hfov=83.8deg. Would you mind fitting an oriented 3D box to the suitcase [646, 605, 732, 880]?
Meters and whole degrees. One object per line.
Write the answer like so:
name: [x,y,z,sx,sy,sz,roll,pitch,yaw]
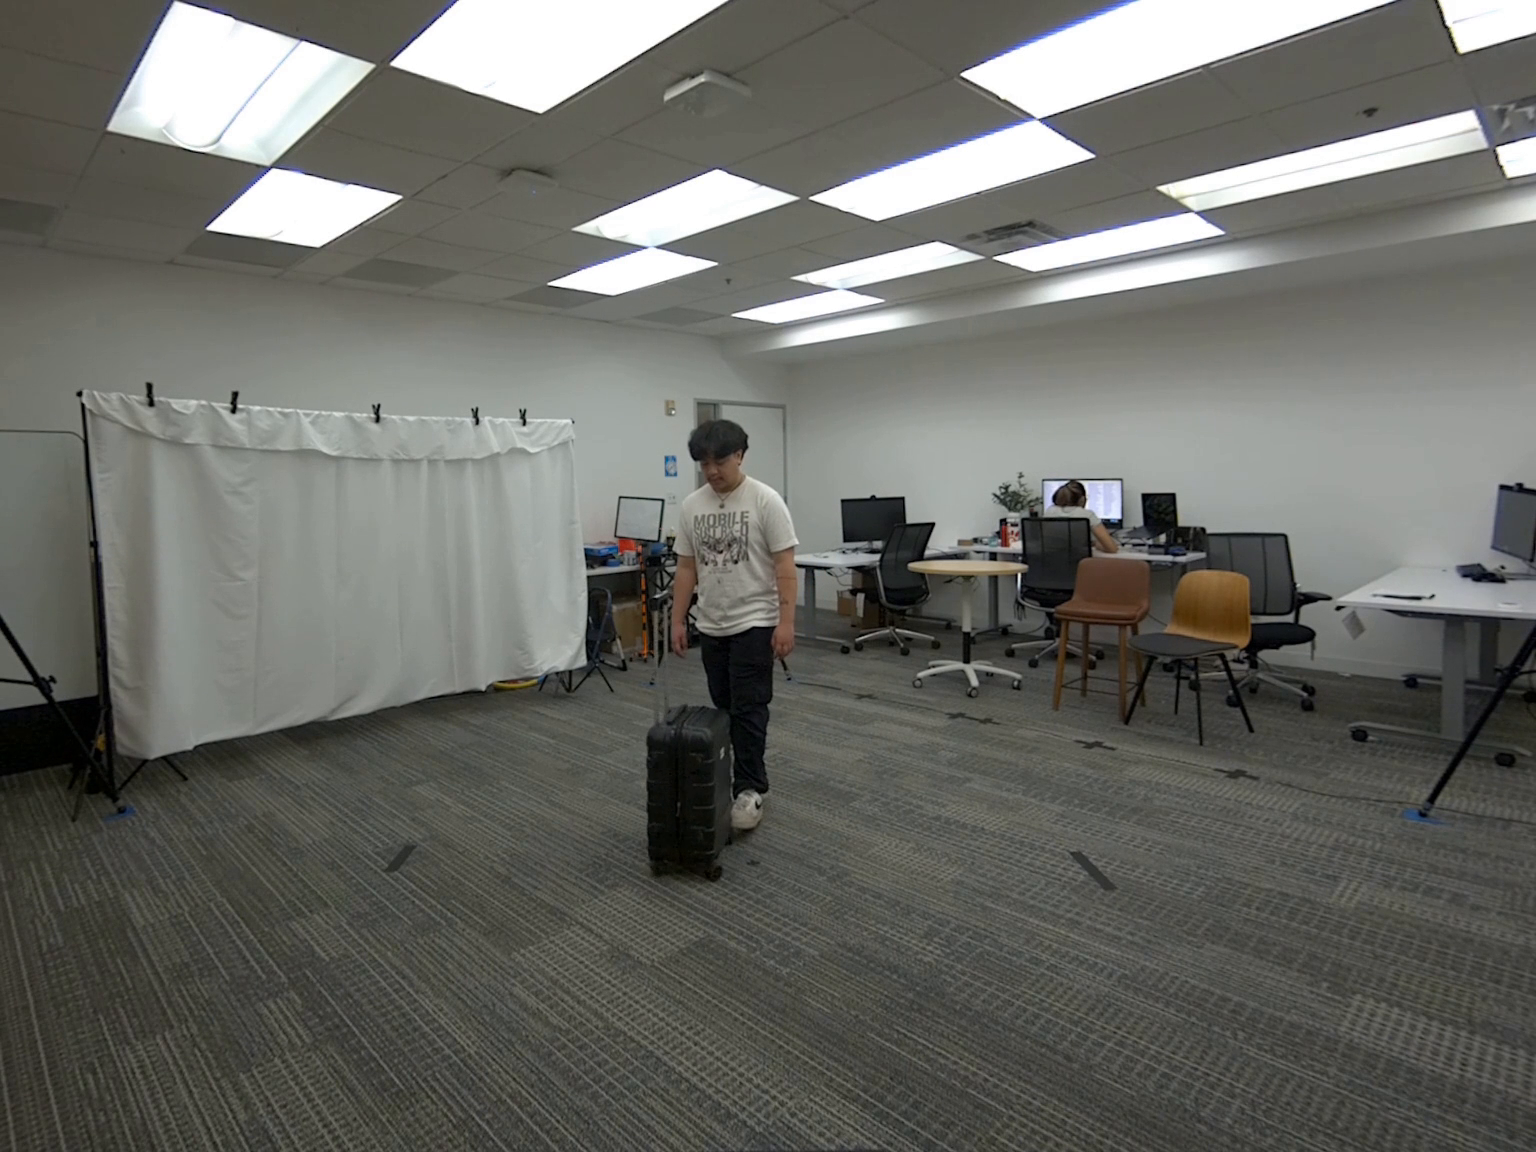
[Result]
suitcase: [-0.283,0.570,3.105,0.260,0.974,0.382,2,5,9]
